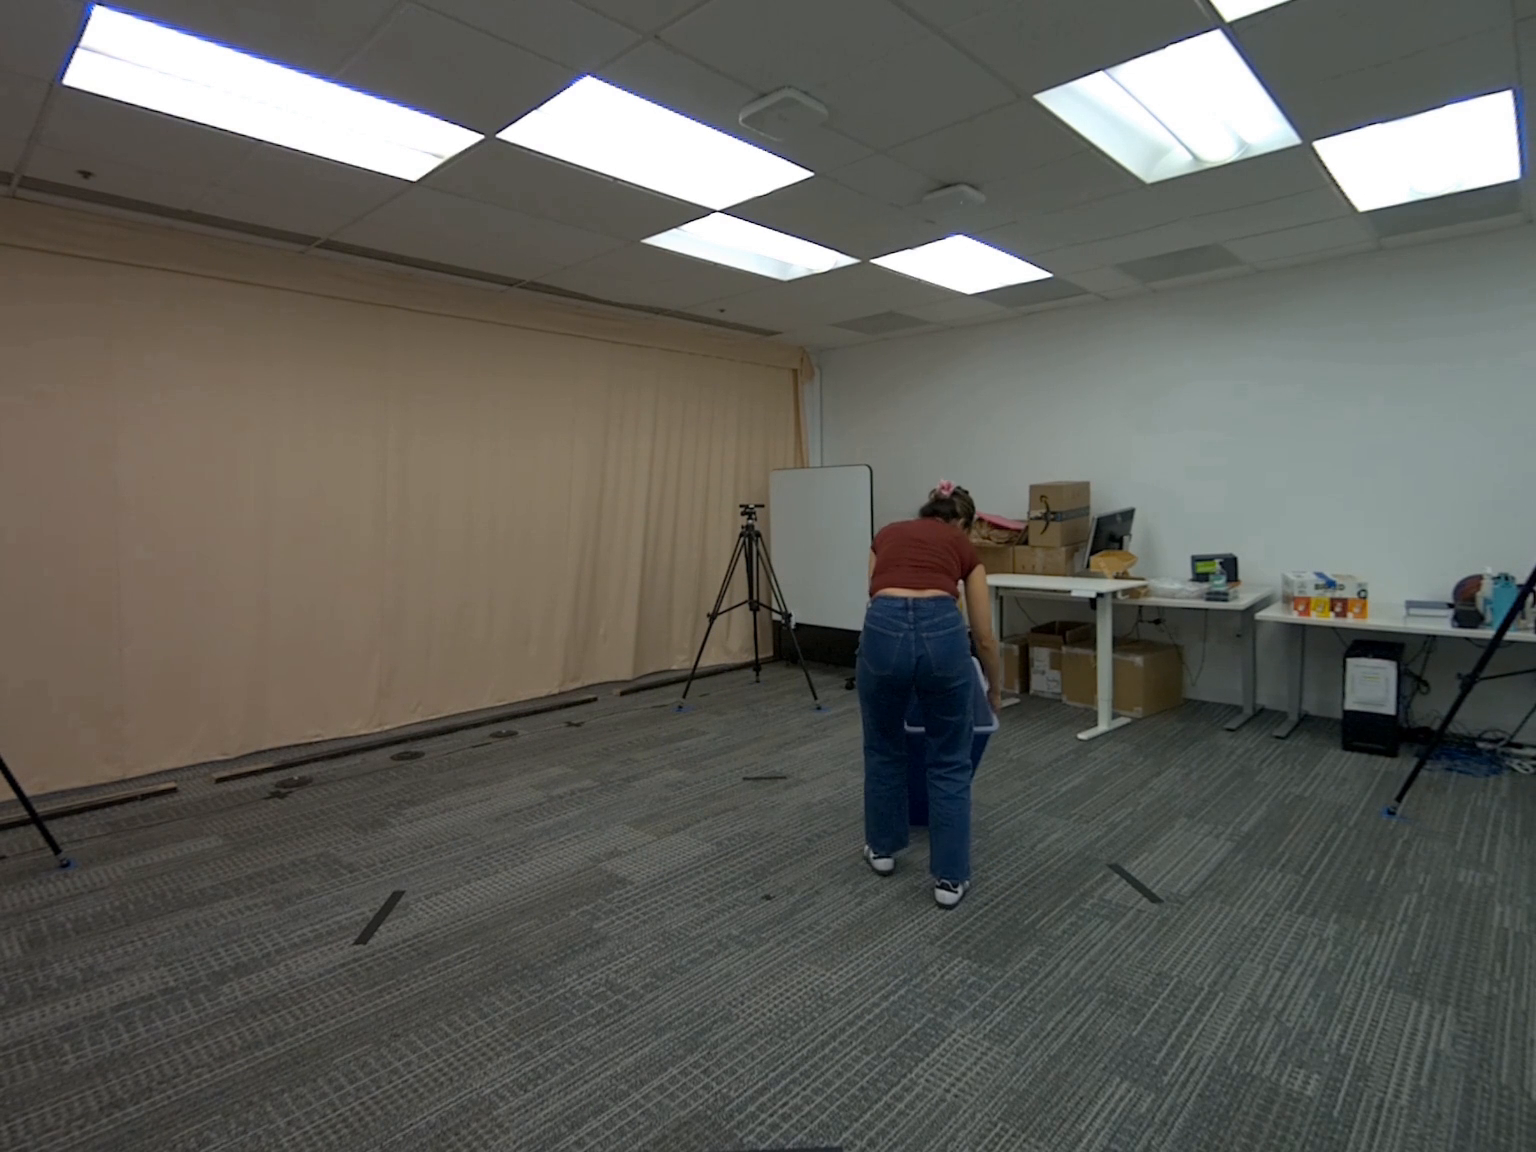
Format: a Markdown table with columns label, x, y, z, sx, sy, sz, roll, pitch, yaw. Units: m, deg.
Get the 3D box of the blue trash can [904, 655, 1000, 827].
| label | x | y | z | sx | sy | sz | roll | pitch | yaw |
| --- | --- | --- | --- | --- | --- | --- | --- | --- | --- |
| blue trash can | 0.667 | 0.718 | 3.505 | 0.378 | 0.700 | 0.381 | 1 | 41 | -1 |
